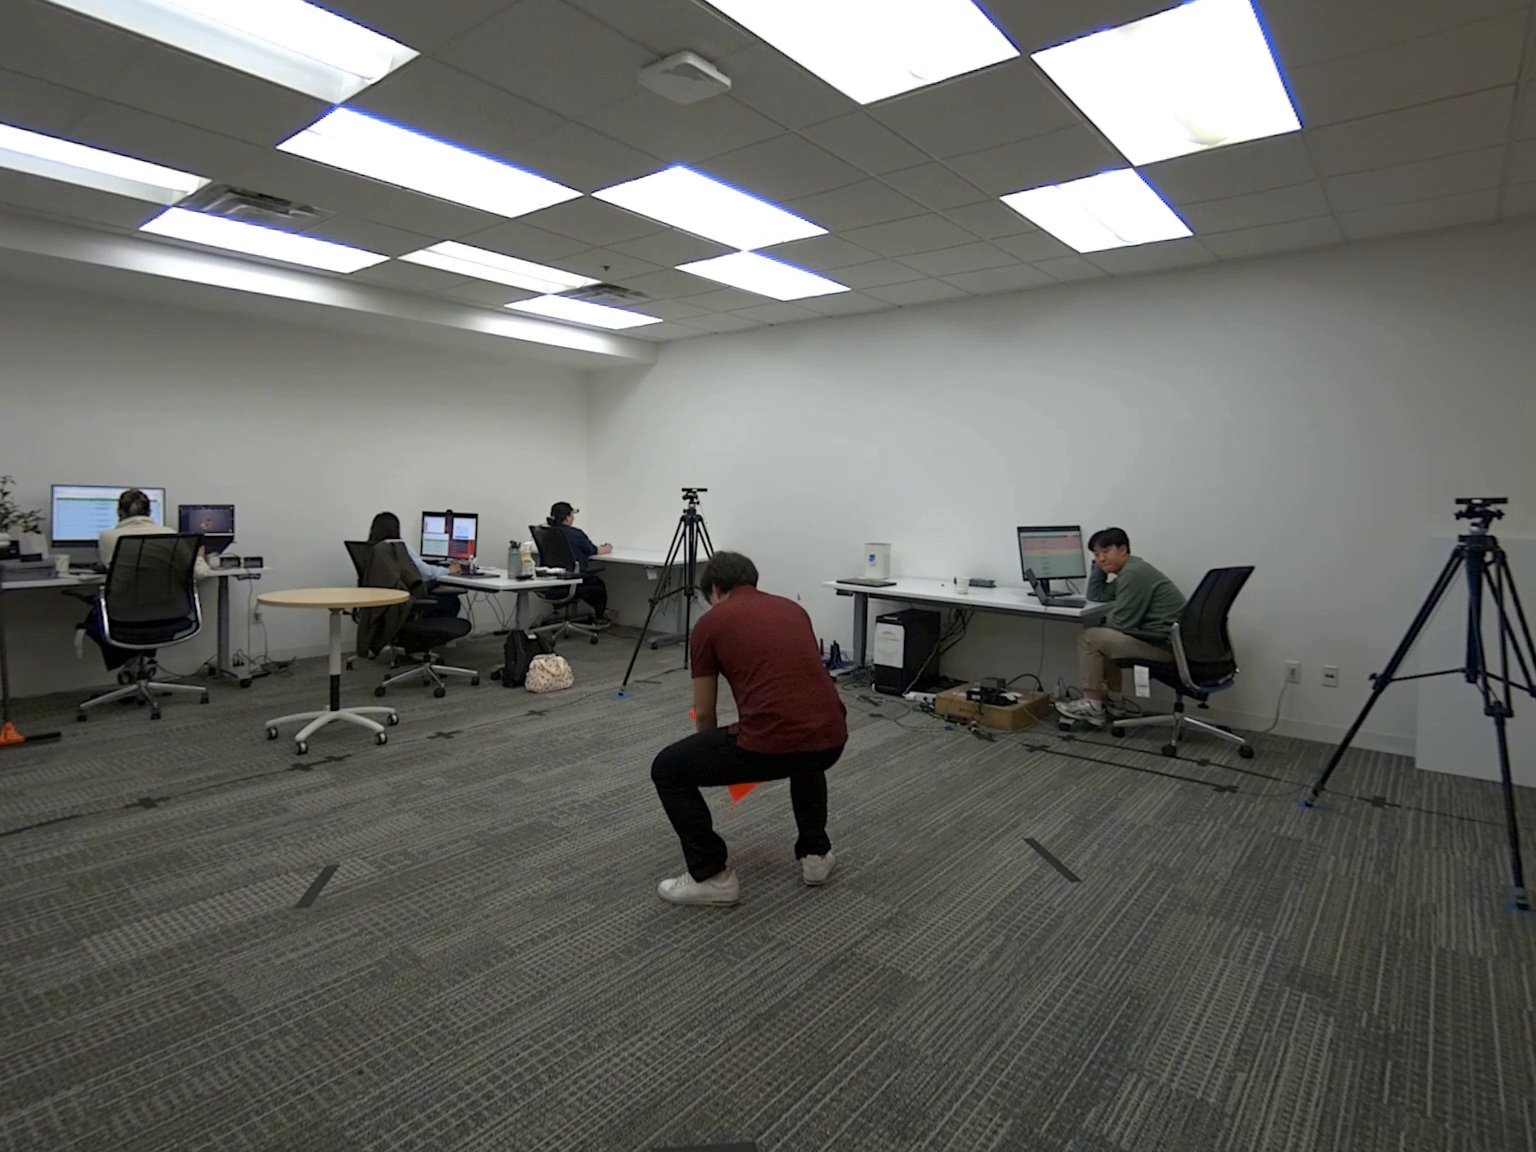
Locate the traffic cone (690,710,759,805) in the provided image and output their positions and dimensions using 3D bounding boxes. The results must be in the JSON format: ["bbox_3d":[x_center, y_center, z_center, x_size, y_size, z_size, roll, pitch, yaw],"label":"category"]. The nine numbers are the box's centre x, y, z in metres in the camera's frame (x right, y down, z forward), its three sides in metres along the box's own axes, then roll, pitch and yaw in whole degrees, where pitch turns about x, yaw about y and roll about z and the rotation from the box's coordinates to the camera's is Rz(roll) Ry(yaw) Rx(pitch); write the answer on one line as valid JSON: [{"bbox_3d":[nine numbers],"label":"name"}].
[{"bbox_3d":[-0.191,0.680,3.320,0.203,0.392,0.201,-35,-14,-5],"label":"traffic cone"}]
